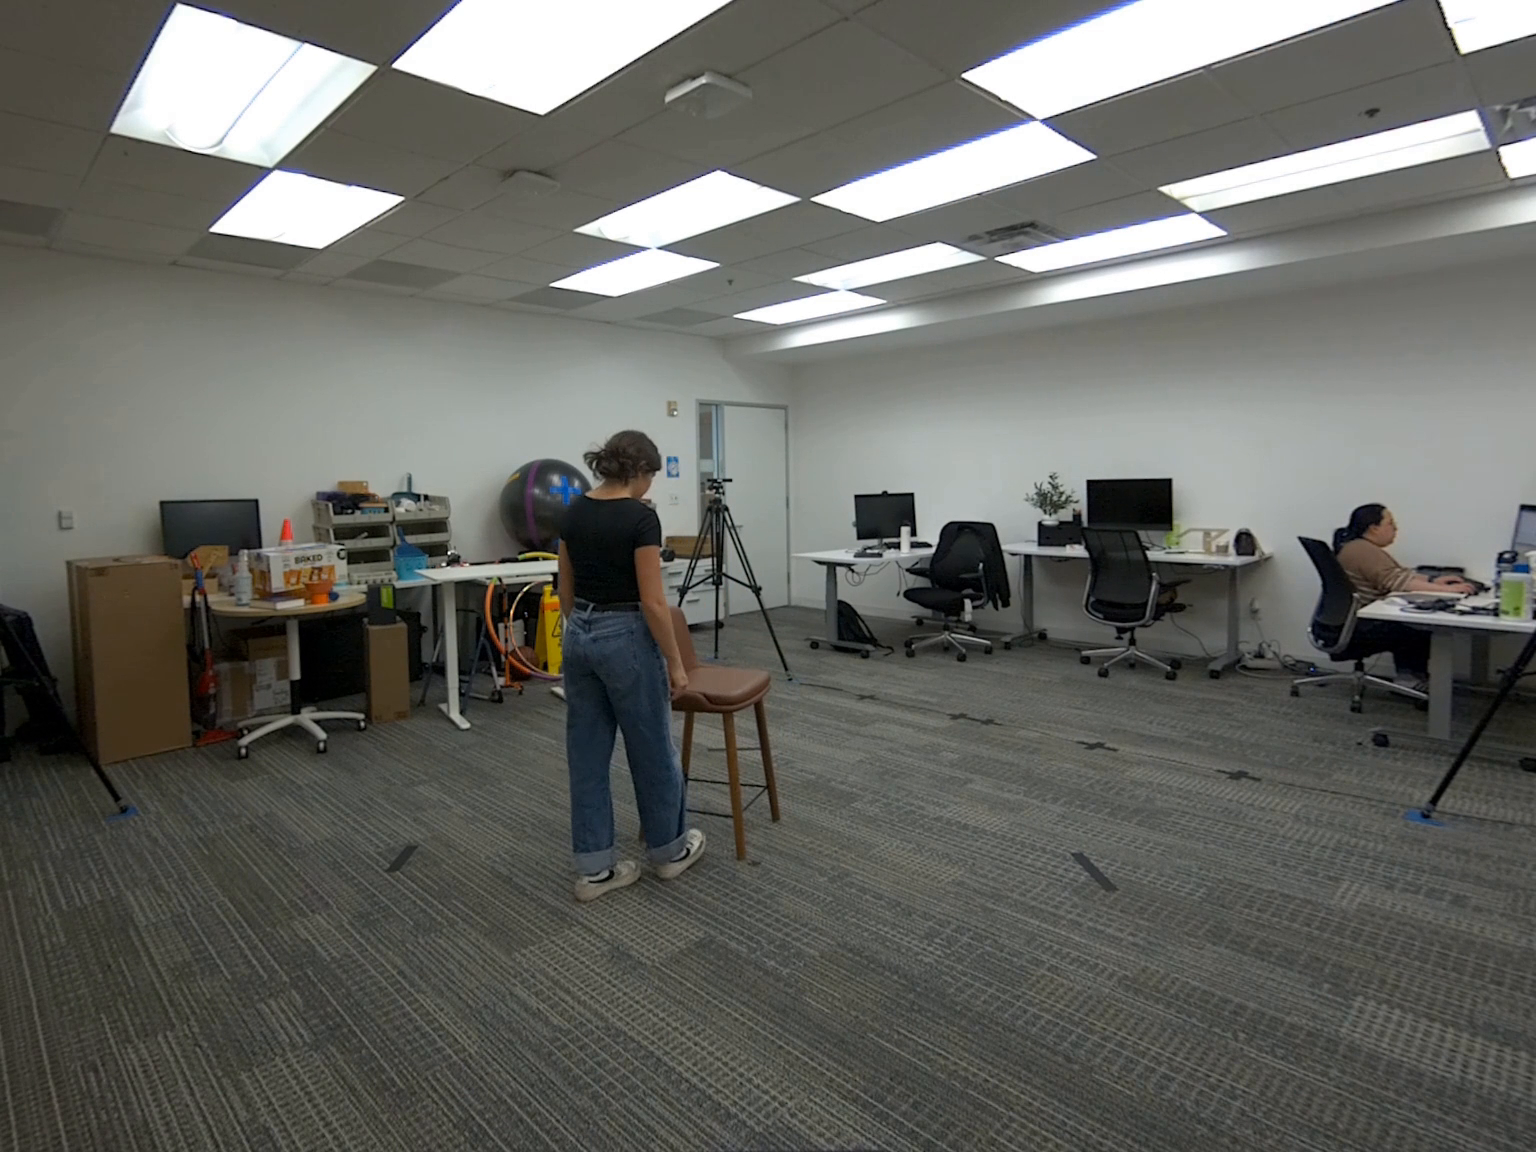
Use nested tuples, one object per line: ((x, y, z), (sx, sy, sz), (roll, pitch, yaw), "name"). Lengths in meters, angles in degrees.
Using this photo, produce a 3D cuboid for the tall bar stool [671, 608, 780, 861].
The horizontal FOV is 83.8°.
((-0.241, 0.582, 3.386), (0.478, 0.888, 0.448), (-1, 3, 23), "tall bar stool")
